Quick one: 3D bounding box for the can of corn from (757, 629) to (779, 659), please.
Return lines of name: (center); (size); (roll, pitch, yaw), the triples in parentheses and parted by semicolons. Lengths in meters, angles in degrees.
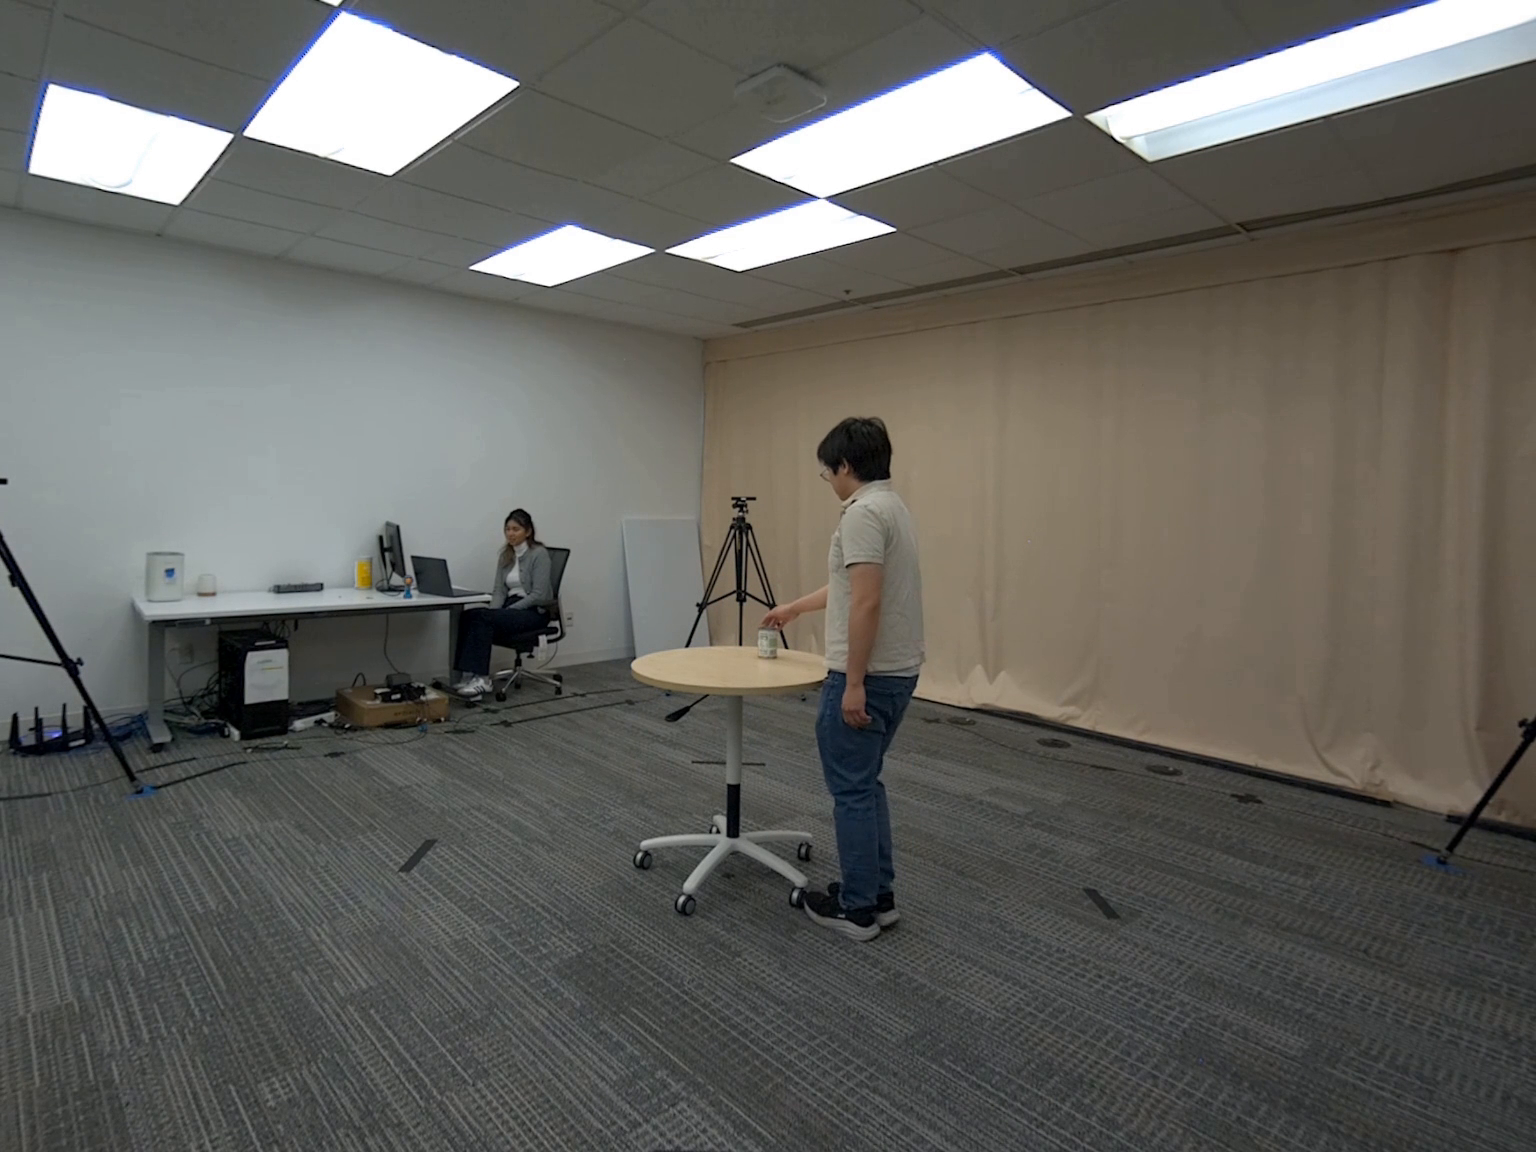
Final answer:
can of corn: (-0.009, 0.256, 3.236); (0.074, 0.111, 0.074); (3, 3, -2)
